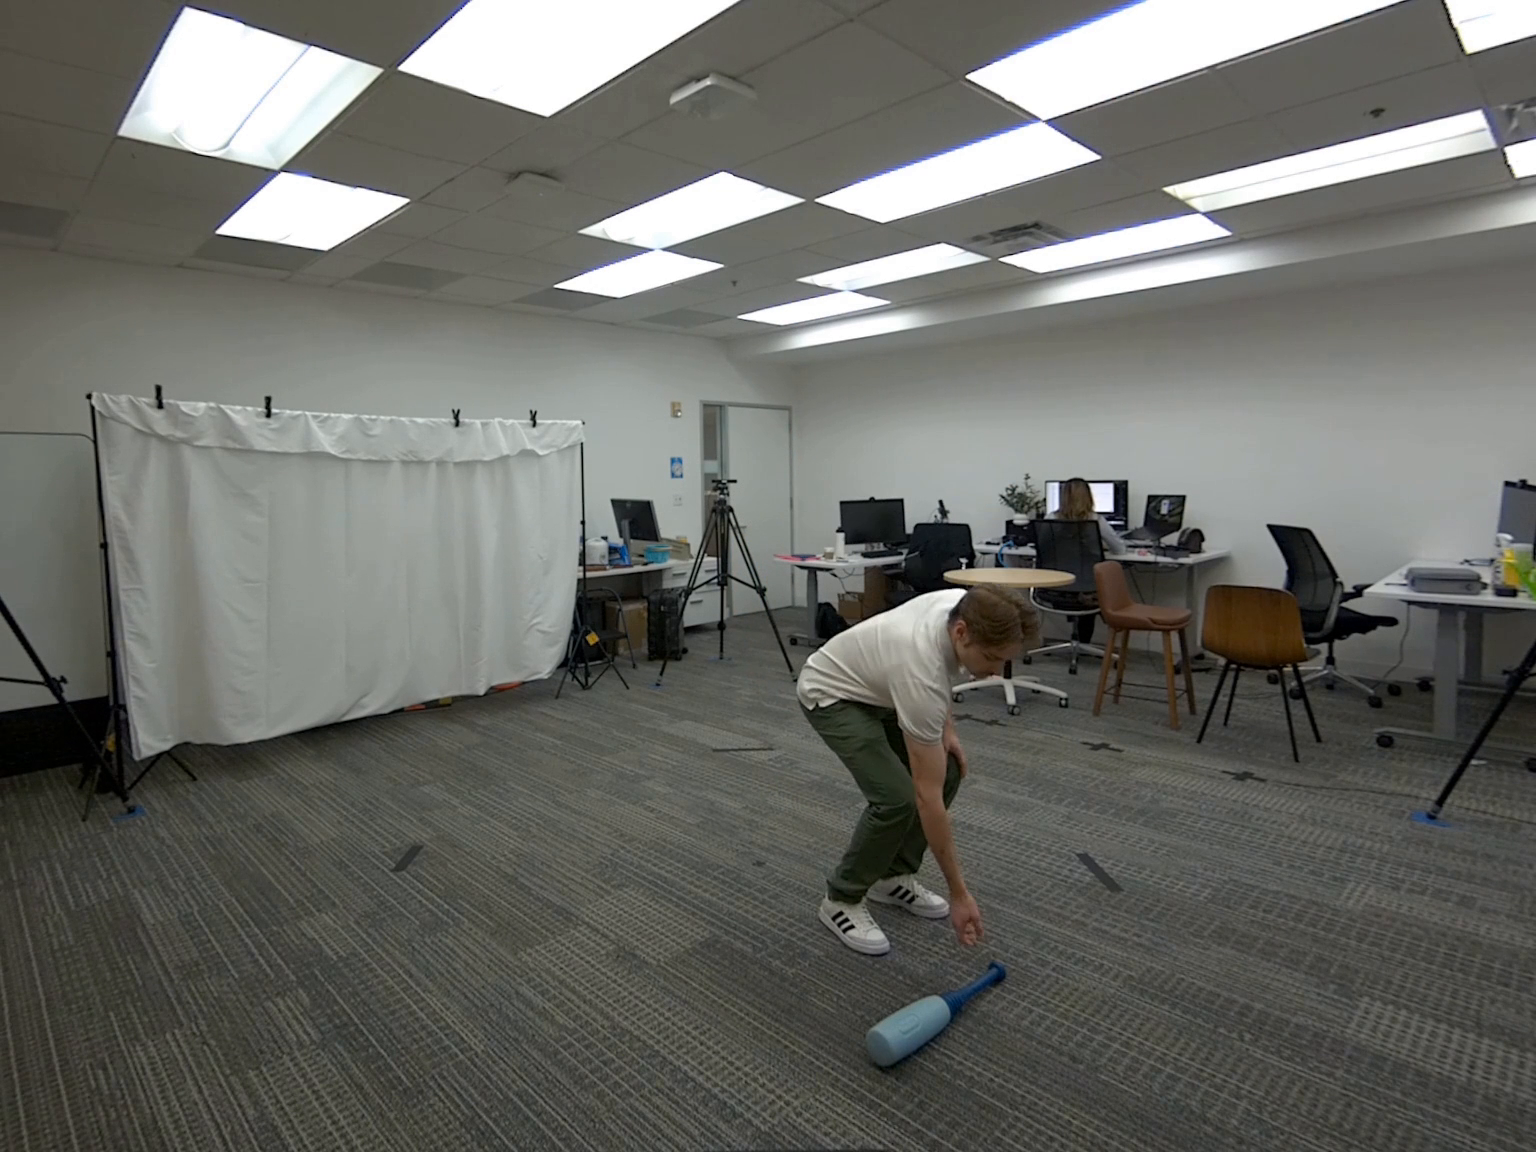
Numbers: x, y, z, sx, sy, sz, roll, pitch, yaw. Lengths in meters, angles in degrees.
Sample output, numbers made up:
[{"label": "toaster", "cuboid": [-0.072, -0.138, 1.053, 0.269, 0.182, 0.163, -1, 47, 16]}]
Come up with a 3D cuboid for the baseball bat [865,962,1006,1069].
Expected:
[{"label": "baseball bat", "cuboid": [0.454, 1.103, 2.202, 0.528, 0.089, 0.092, -3, 5, -44]}]
